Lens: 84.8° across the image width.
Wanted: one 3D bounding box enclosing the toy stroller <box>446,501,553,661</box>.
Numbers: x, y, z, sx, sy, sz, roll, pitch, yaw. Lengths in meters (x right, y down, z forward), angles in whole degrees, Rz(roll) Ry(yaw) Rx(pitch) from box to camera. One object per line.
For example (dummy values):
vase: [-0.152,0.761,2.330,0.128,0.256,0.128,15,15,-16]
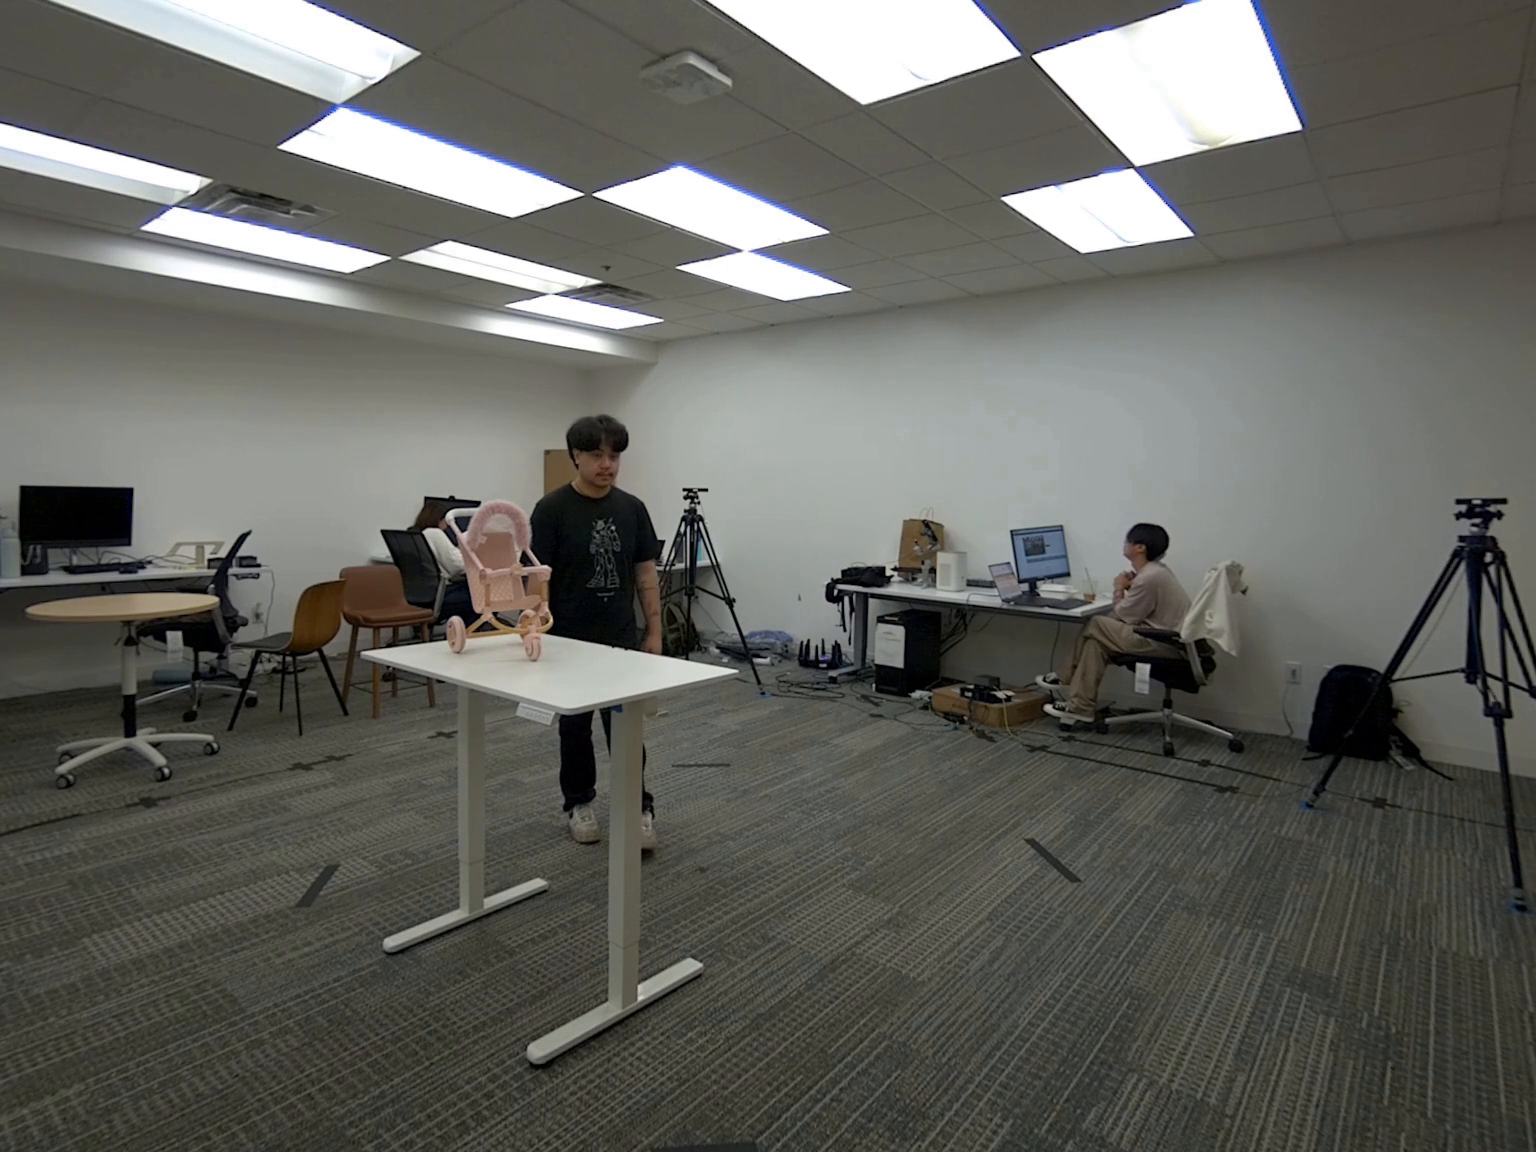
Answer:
toy stroller: [-0.827,0.005,2.595,0.273,0.541,0.348,-2,-11,-38]
